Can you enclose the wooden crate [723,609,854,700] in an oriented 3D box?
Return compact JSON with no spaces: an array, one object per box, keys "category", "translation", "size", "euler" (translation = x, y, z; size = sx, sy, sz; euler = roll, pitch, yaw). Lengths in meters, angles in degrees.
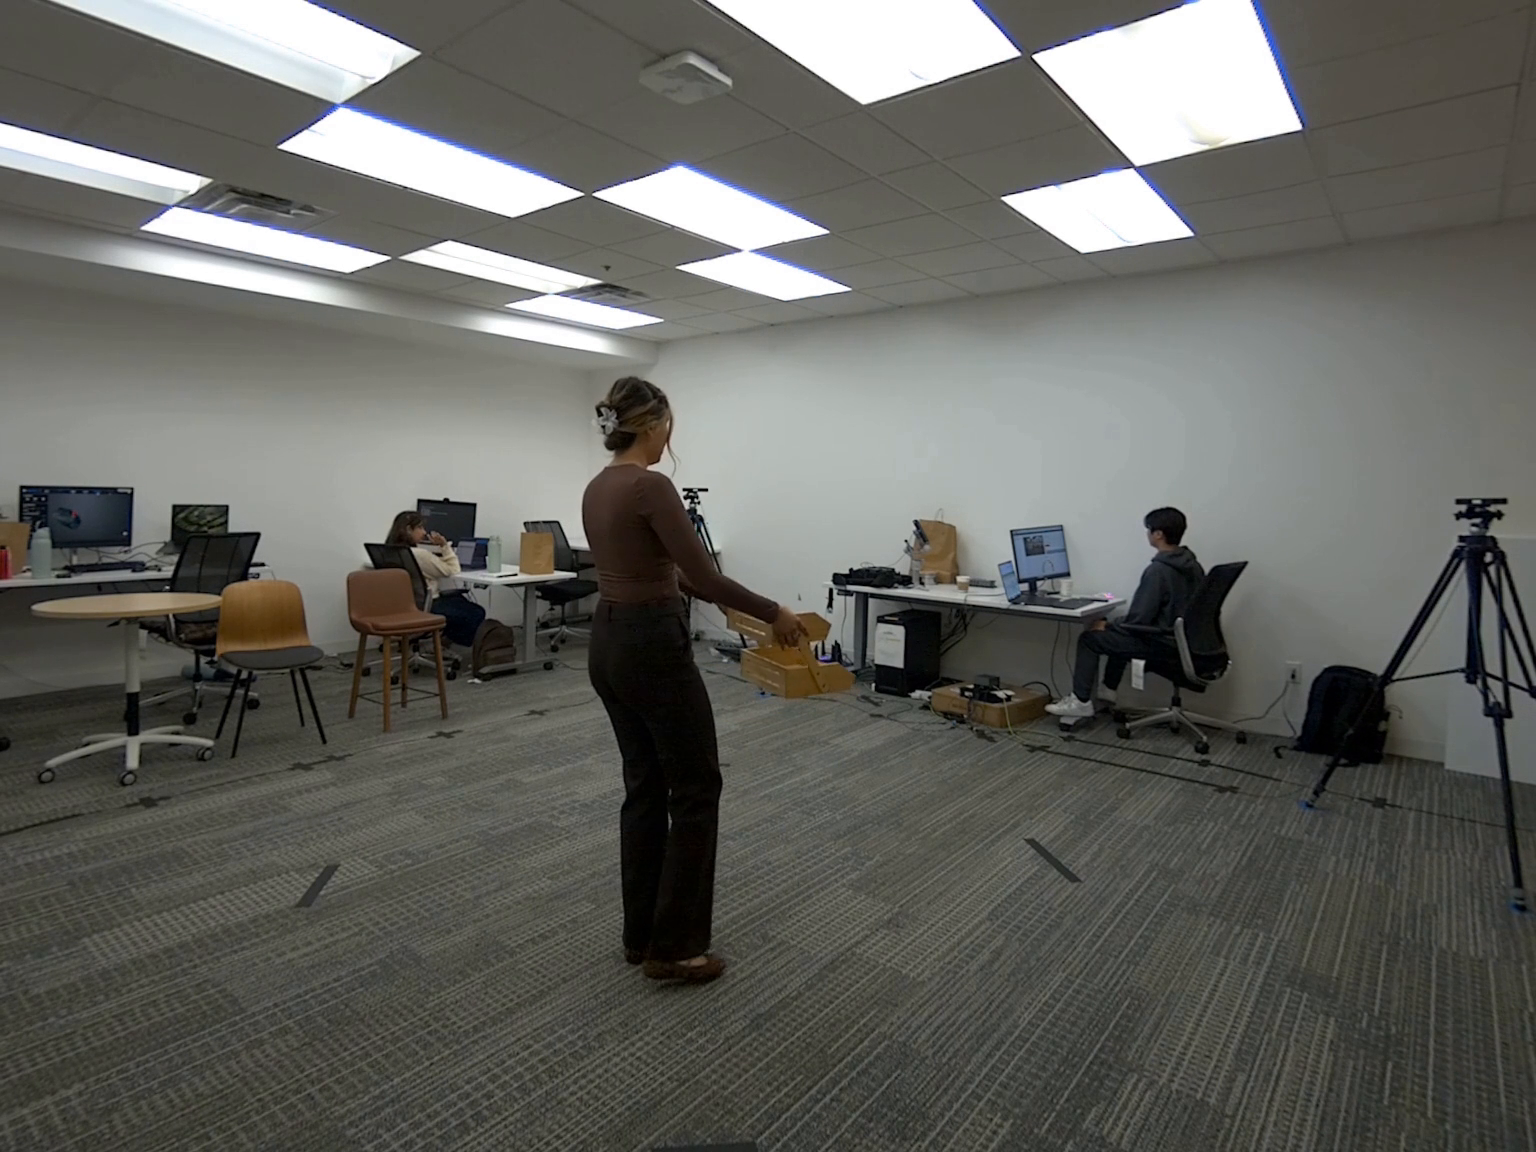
[{"category":"wooden crate","translation":[0.059,0.215,2.730],"size":[0.295,0.272,0.334],"euler":[-4,7,-28]}]
